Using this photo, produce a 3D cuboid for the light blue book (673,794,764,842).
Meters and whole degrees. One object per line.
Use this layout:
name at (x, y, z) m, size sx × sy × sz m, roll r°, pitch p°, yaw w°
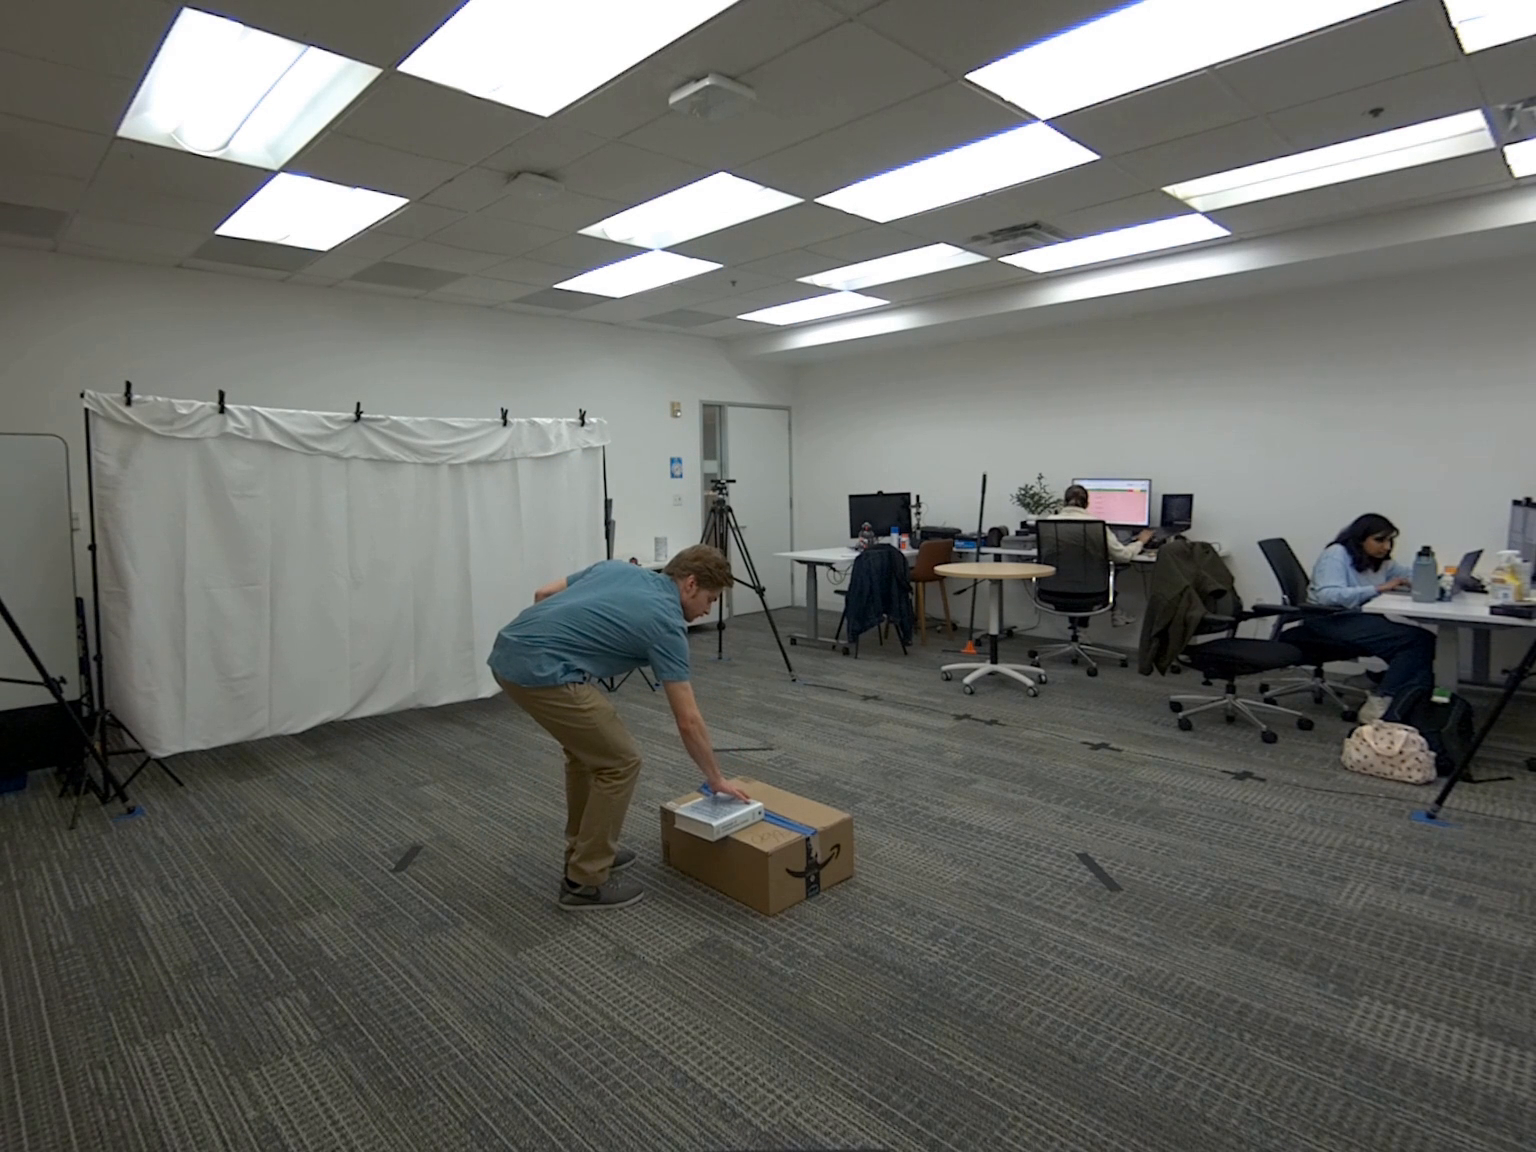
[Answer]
light blue book at (-0.170, 0.819, 2.952) m, size 0.197 × 0.059 × 0.254 m, roll 5°, pitch 7°, yaw 40°
